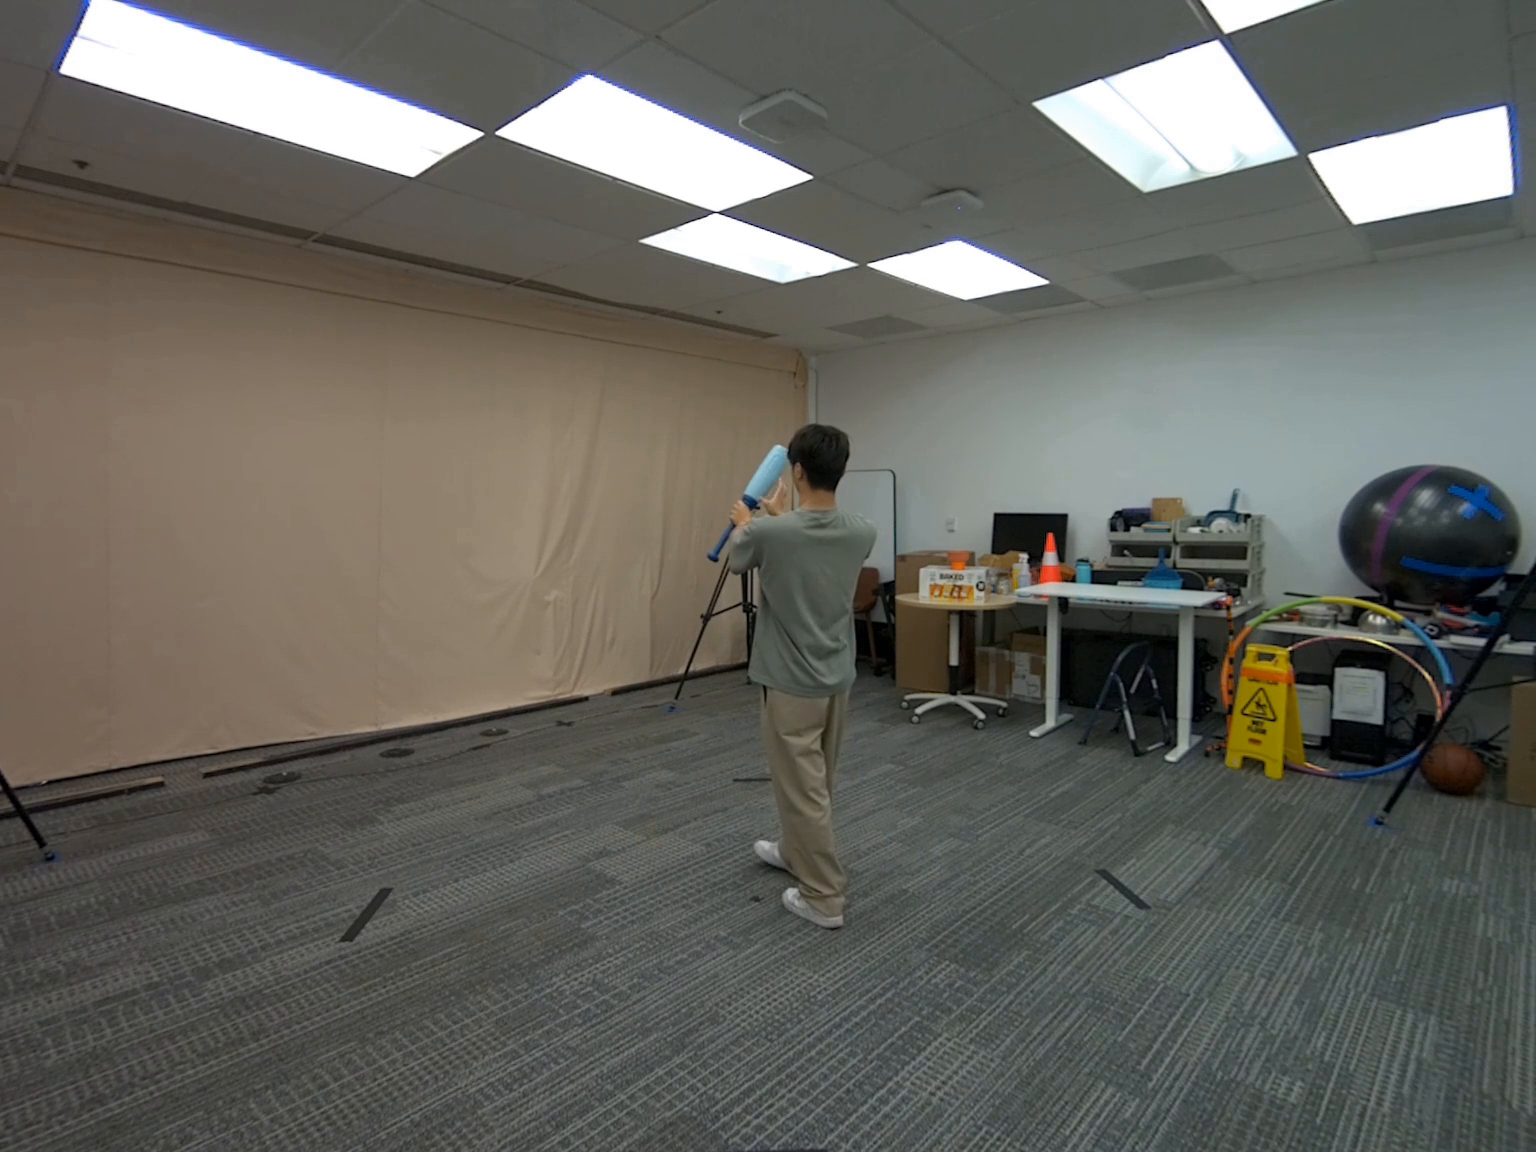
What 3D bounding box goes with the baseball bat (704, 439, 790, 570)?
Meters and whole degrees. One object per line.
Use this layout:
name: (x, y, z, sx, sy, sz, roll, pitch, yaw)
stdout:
baseball bat: (-0.068, -0.285, 3.336, 0.090, 0.542, 0.088, 31, -11, 5)
